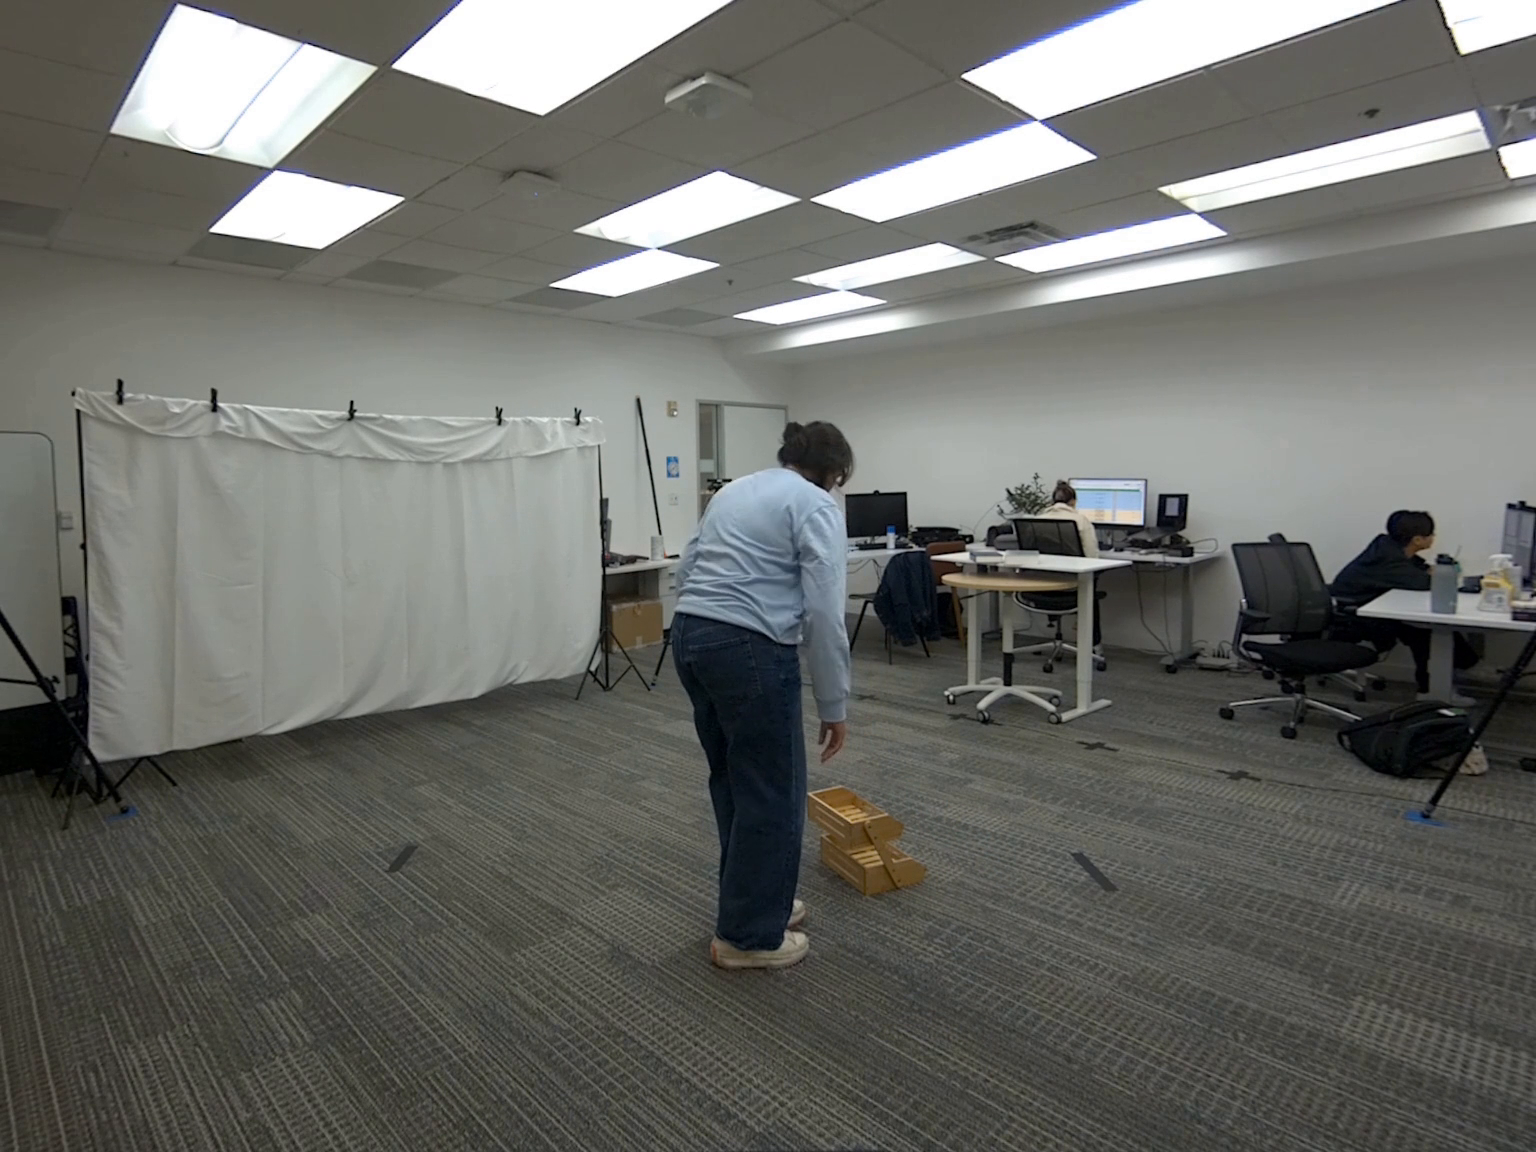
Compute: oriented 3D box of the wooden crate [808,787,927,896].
[{"bbox_3d":[0.352,0.913,3.020,0.296,0.272,0.332,-4,6,-25],"label":"wooden crate"}]
